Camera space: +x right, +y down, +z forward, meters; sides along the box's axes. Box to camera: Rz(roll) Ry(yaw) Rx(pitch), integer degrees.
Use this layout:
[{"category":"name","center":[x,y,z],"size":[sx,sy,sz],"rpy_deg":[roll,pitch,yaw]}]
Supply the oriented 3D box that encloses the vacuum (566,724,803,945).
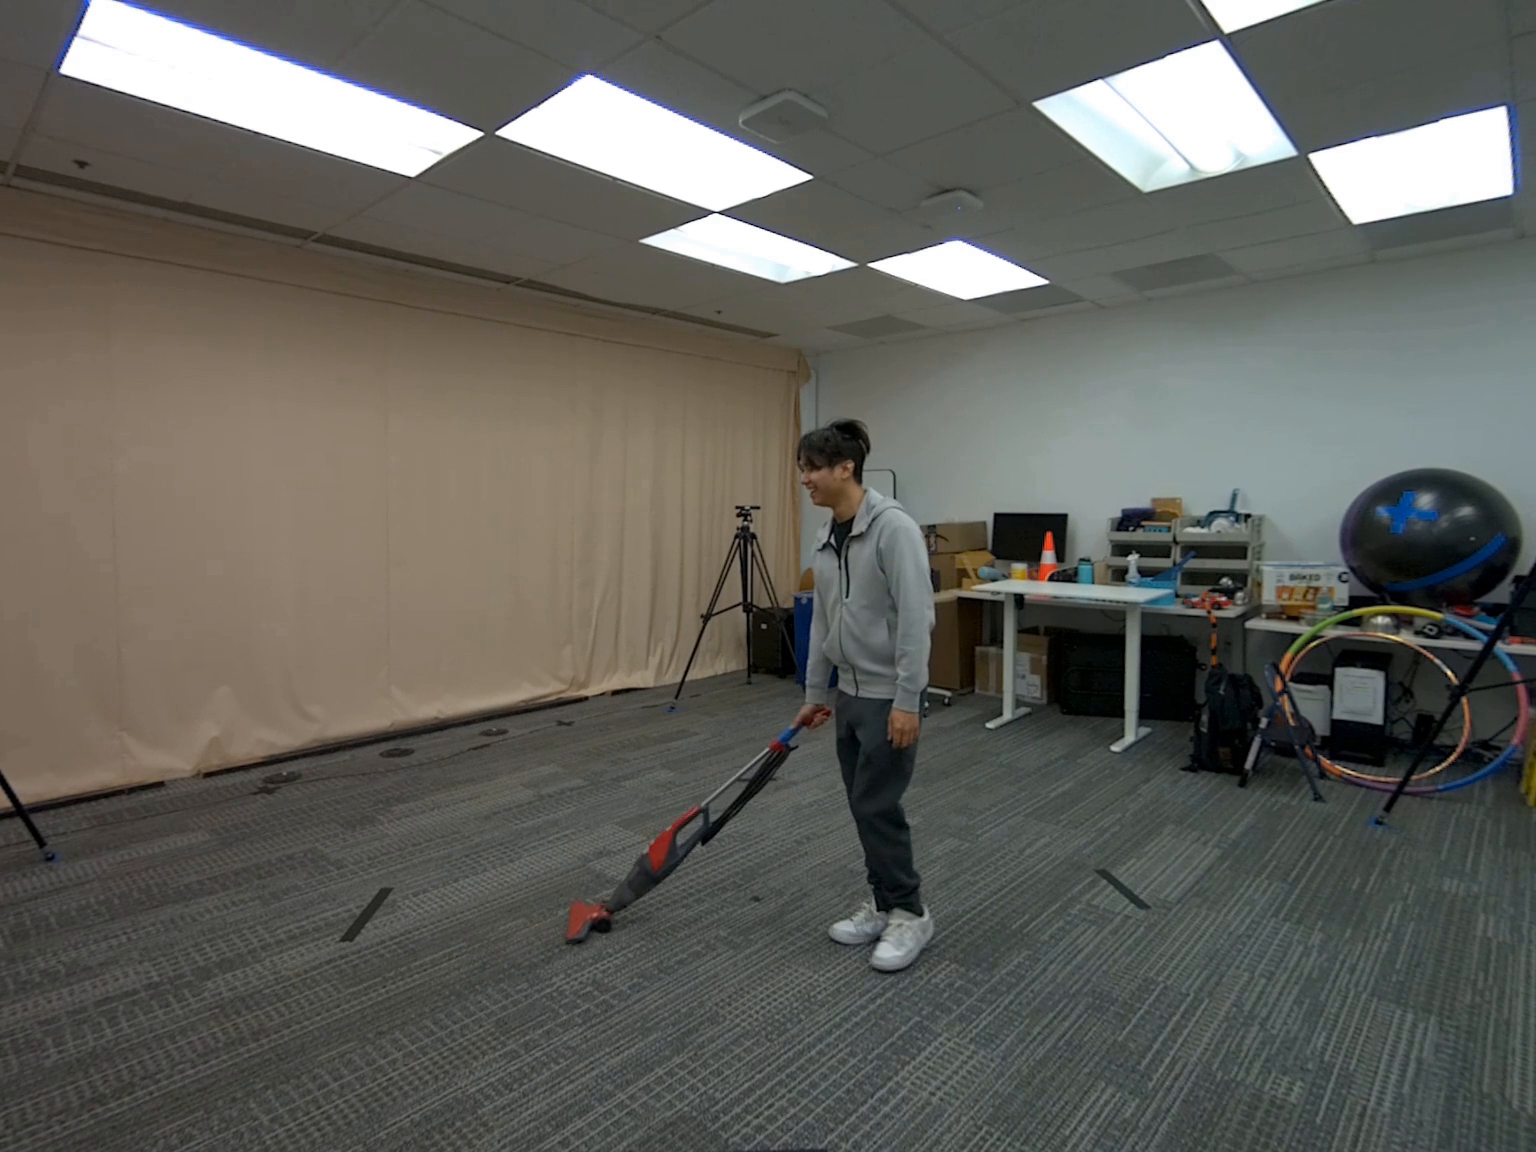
[{"category":"vacuum","center":[-0.193,0.811,2.831],"size":[1.048,0.143,0.254],"rpy_deg":[-40,6,-3]}]
